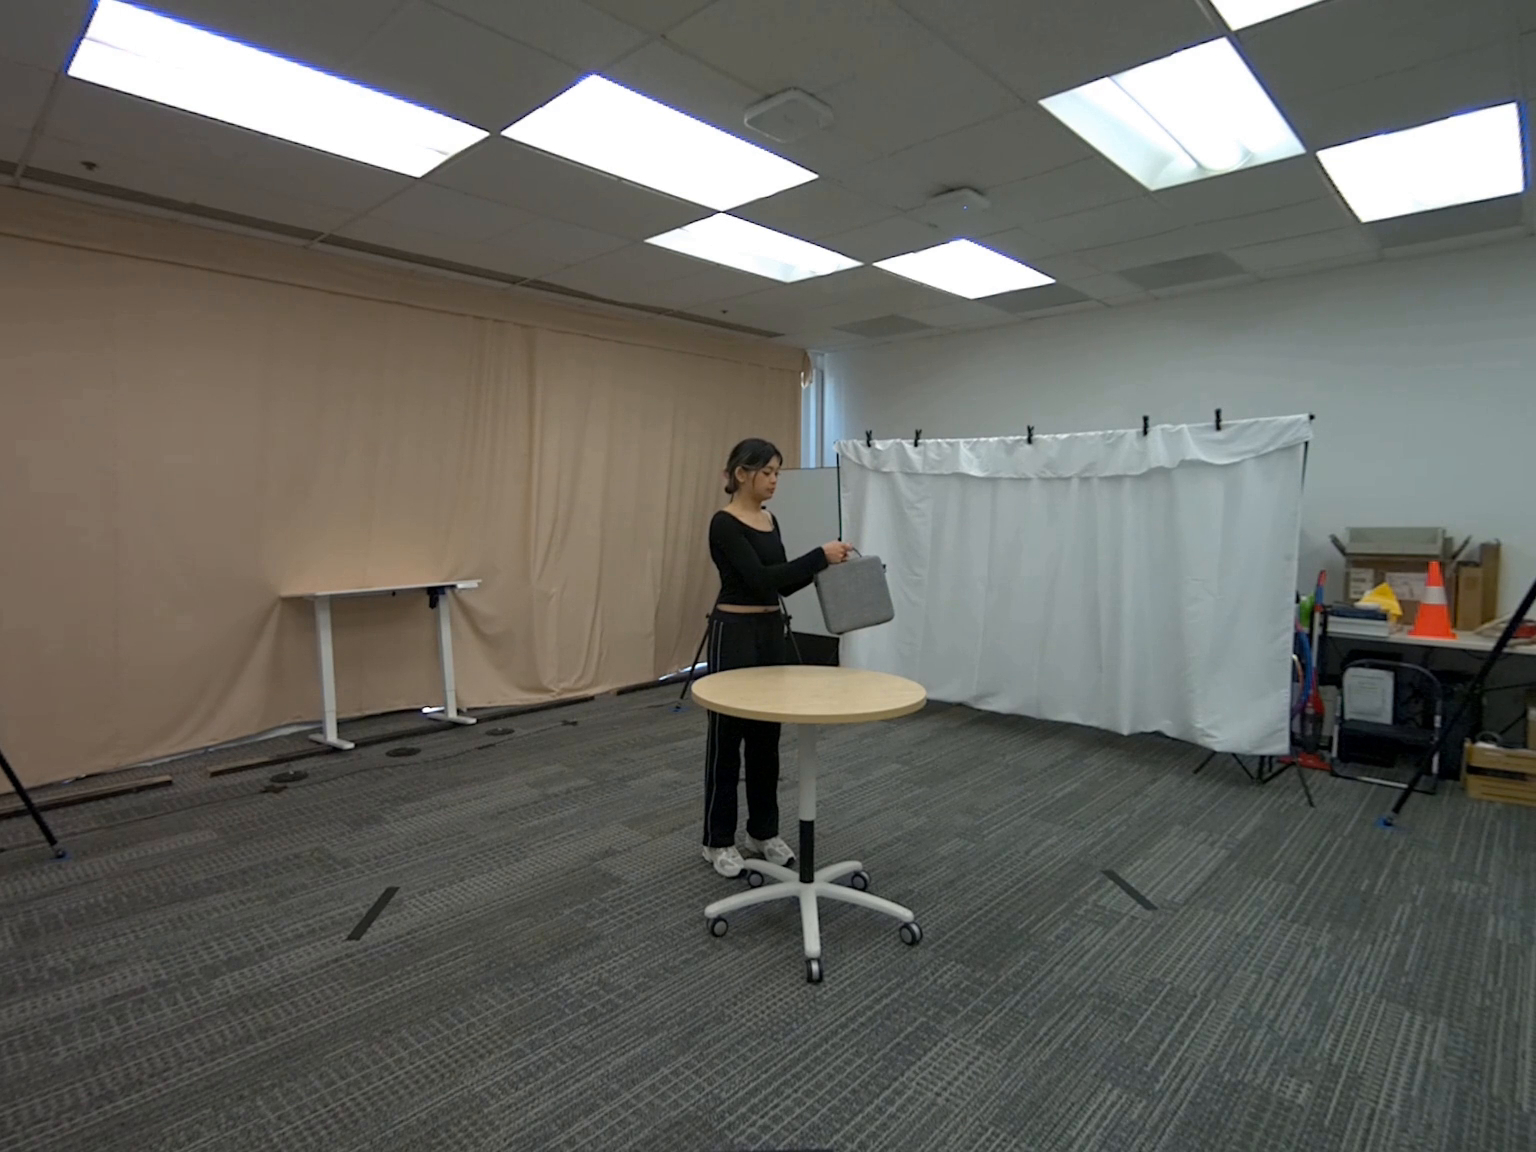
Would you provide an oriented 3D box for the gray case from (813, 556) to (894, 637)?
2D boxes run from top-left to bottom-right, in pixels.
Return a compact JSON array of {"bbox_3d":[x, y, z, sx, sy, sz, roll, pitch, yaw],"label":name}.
[{"bbox_3d":[0.330,0.071,3.115,0.256,0.261,0.104,-13,-2,-4],"label":"gray case"}]
